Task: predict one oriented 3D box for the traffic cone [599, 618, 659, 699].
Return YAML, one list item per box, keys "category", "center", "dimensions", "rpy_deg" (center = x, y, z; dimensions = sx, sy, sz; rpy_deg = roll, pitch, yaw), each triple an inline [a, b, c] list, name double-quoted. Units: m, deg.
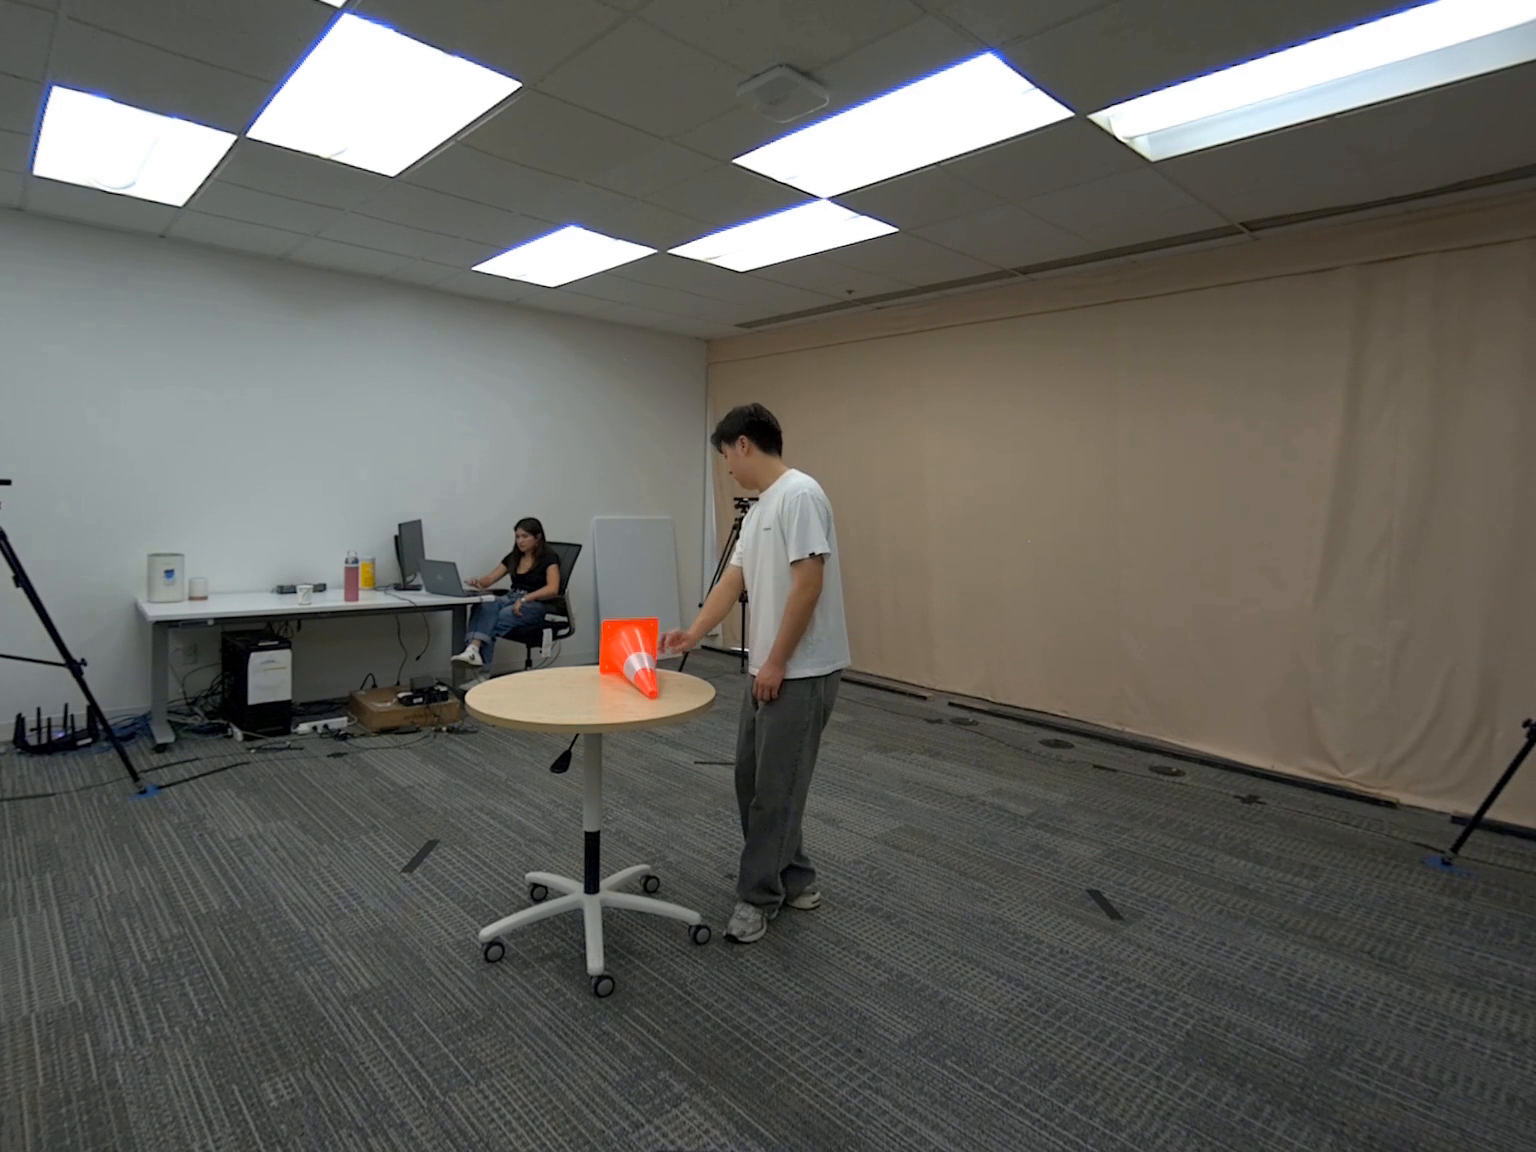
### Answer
- category: "traffic cone"
  center: [-0.412, 0.299, 2.702]
  dimensions: [0.200, 0.203, 0.393]
  rpy_deg: [-2, 18, -20]
